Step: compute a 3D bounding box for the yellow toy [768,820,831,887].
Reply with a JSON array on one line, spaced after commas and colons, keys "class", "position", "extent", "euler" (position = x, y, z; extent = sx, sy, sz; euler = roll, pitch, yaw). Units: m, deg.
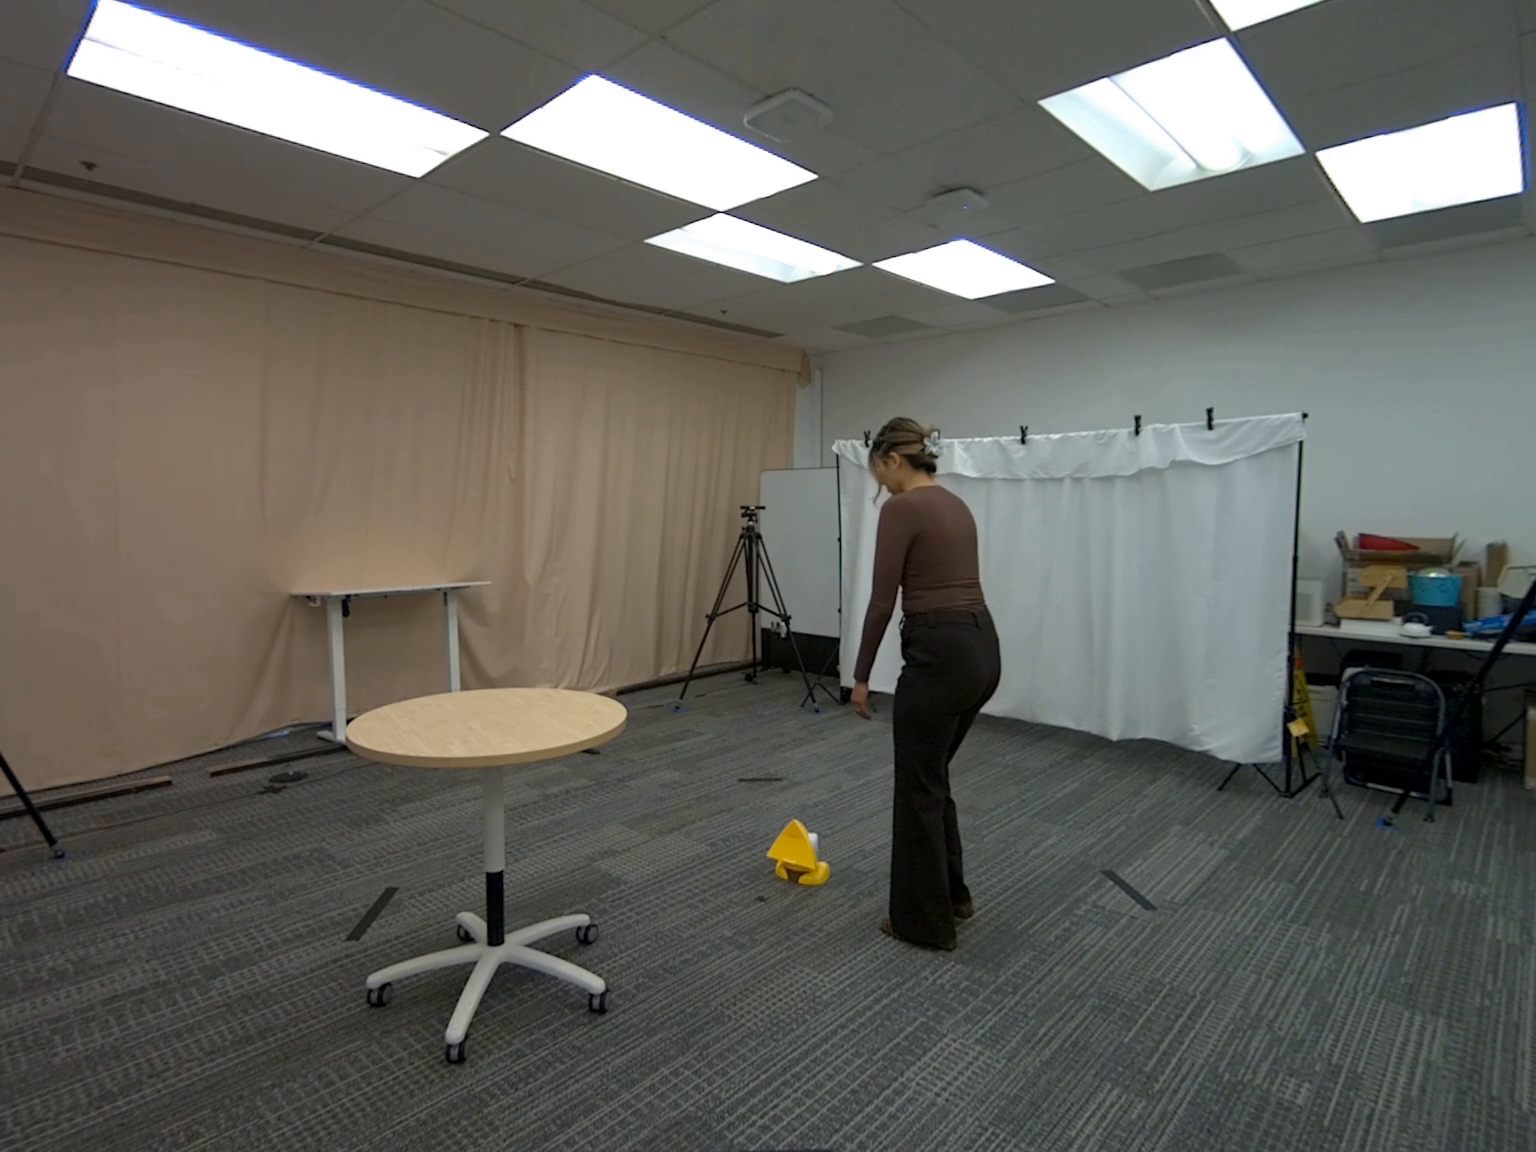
[{"class": "yellow toy", "position": [0.131, 1.018, 3.171], "extent": [0.211, 0.230, 0.187], "euler": [2, 4, 33]}]
